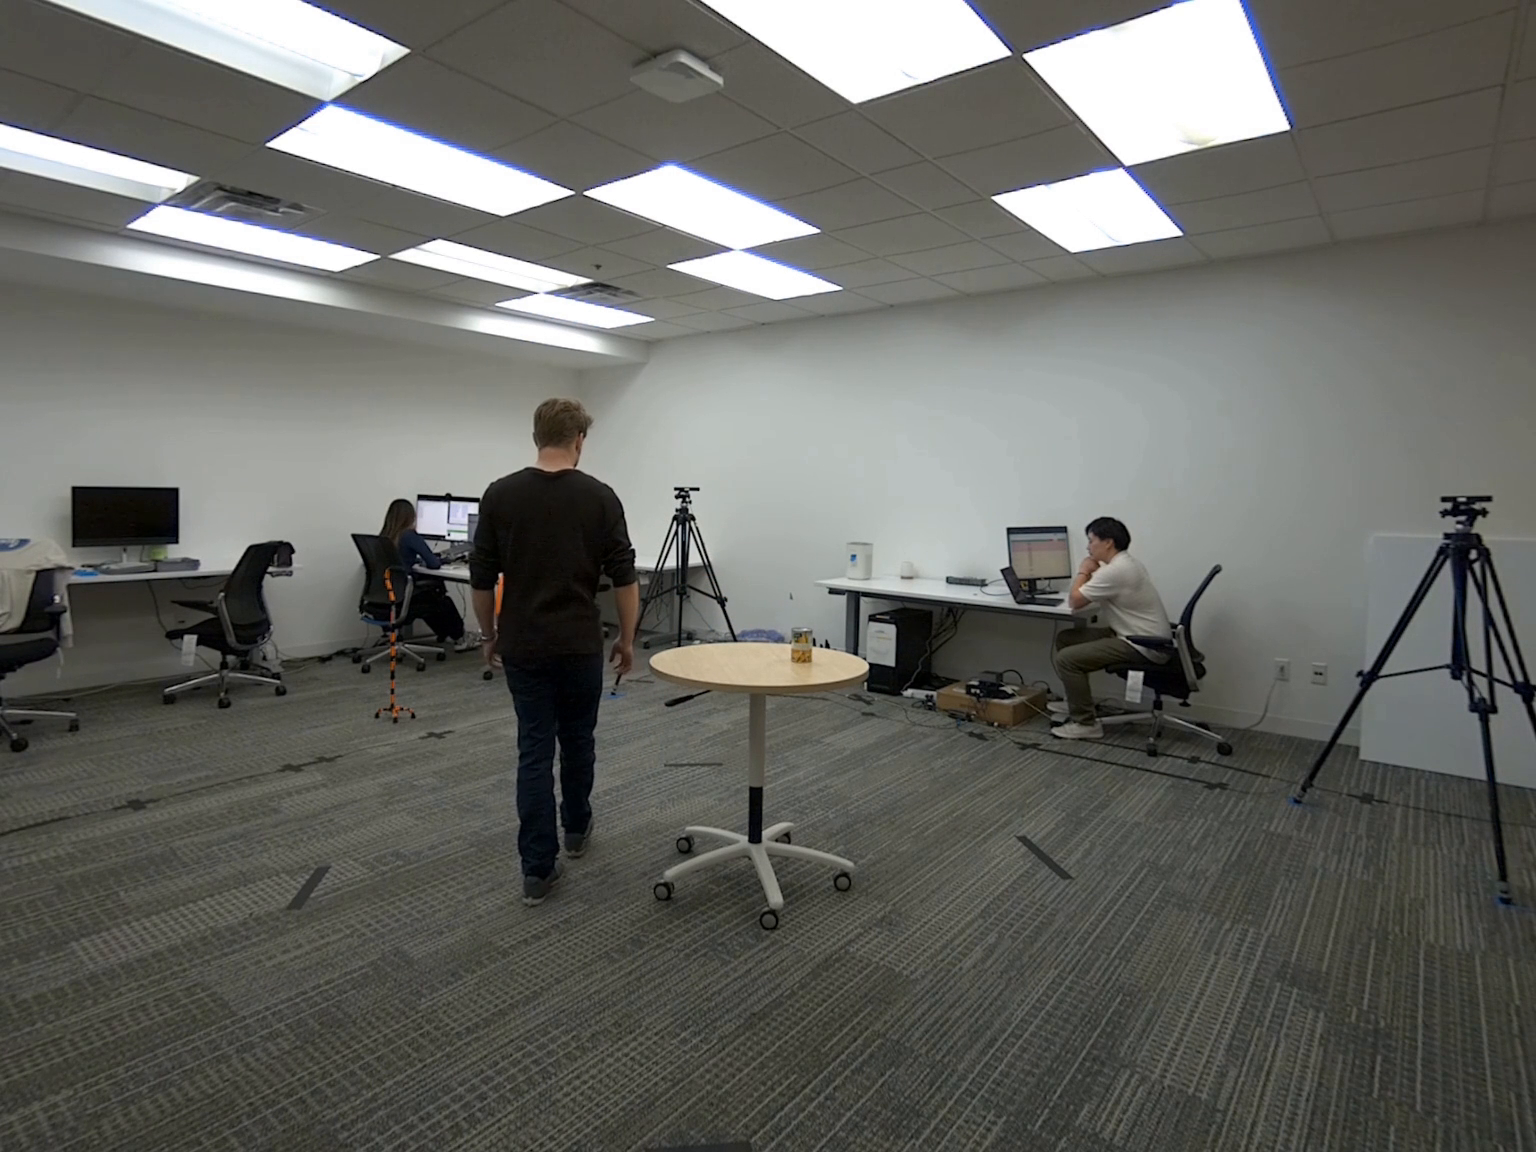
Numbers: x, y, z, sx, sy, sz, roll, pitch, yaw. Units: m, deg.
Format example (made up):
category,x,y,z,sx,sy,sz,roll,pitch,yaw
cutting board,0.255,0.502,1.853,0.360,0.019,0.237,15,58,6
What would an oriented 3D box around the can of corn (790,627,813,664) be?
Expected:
category,x,y,z,sx,sy,sz,roll,pitch,yaw
can of corn,0.112,0.245,3.000,0.074,0.110,0.075,2,6,-2
